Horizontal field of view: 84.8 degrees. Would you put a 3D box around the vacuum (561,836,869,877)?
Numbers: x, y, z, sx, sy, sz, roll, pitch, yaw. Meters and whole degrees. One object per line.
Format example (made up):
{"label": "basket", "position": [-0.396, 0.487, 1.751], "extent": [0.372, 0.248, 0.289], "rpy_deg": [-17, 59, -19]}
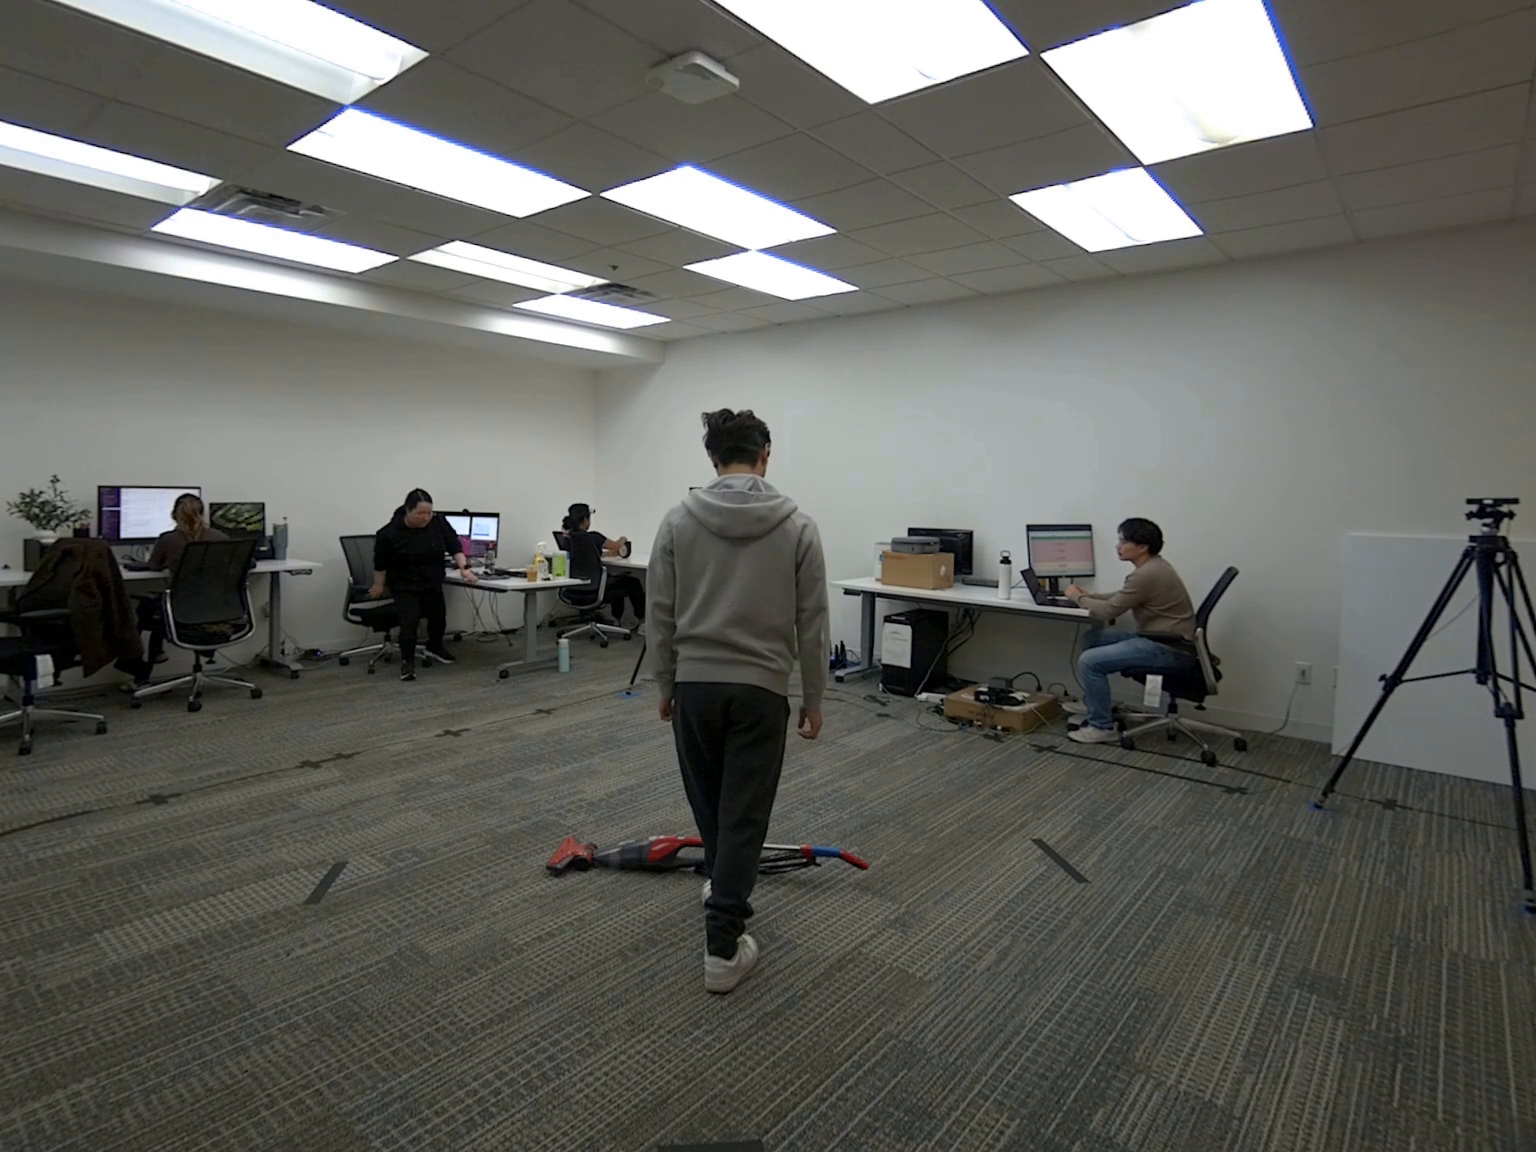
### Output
{"label": "vacuum", "position": [-0.177, 1.014, 3.067], "extent": [1.056, 0.144, 0.250], "rpy_deg": [-1, -2, 6]}
